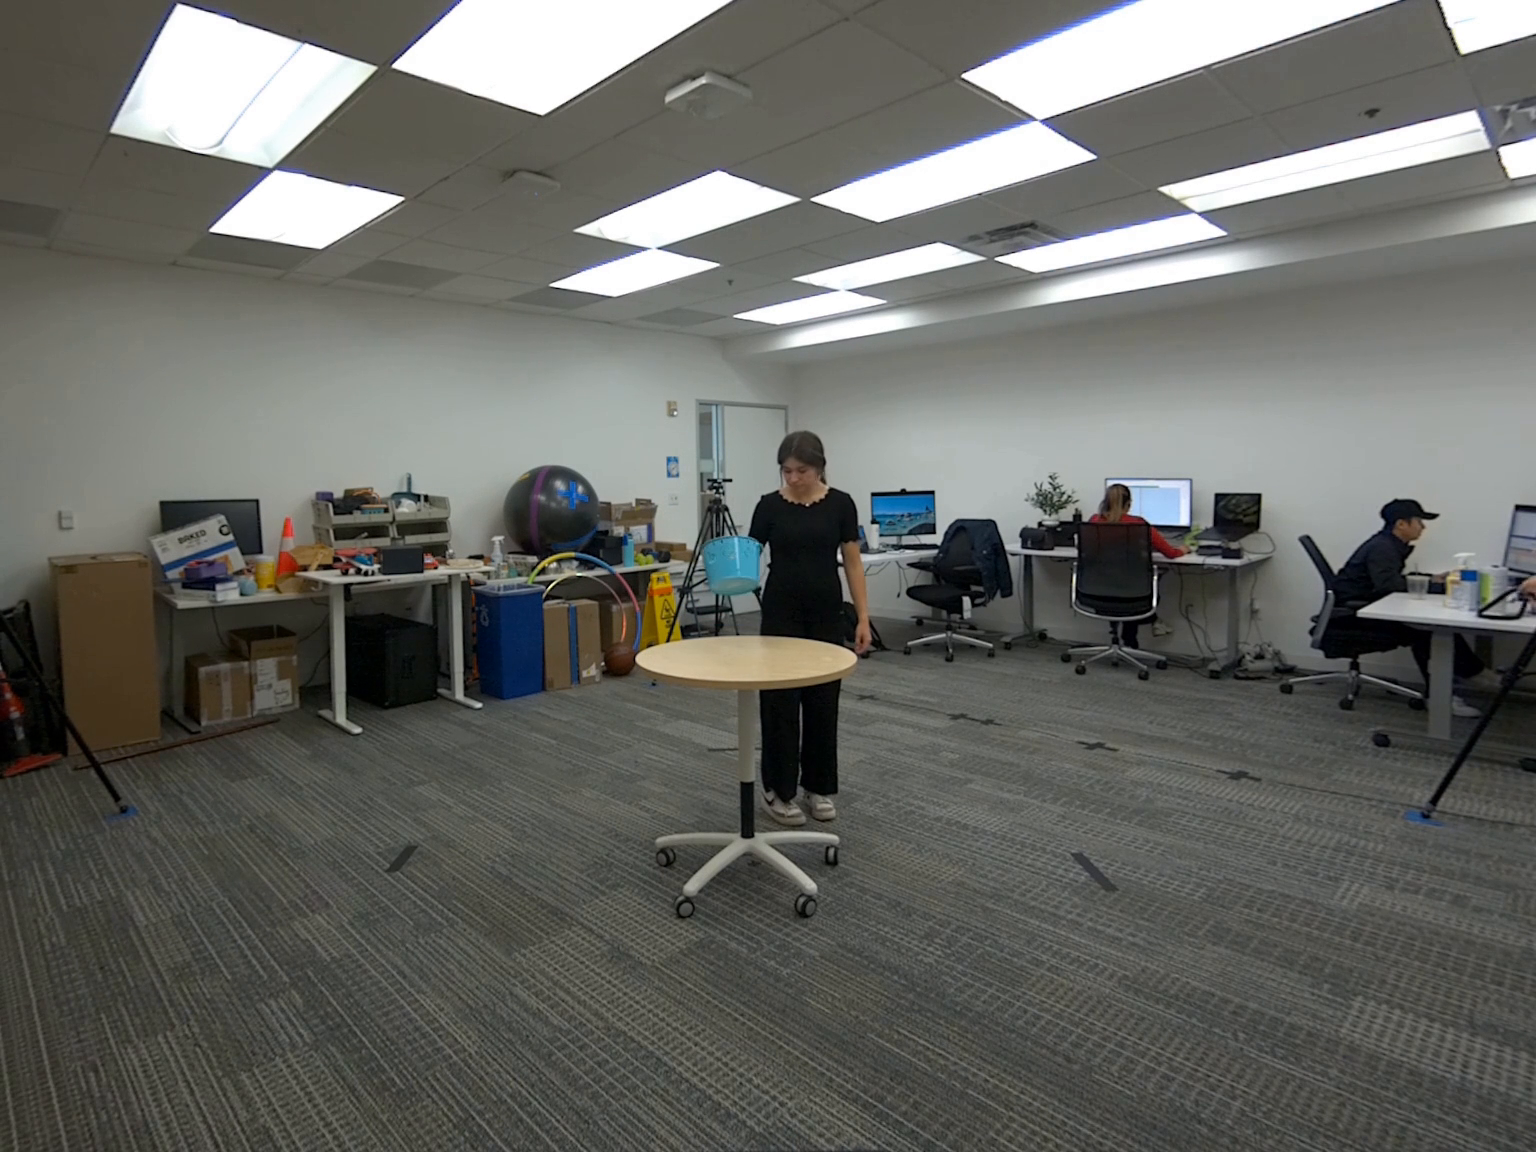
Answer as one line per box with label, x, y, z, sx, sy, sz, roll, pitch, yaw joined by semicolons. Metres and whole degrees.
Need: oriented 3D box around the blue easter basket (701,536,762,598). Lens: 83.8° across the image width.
blue easter basket;-0.128;-0.026;3.168;0.243;0.159;0.239;-3;-22;-3
